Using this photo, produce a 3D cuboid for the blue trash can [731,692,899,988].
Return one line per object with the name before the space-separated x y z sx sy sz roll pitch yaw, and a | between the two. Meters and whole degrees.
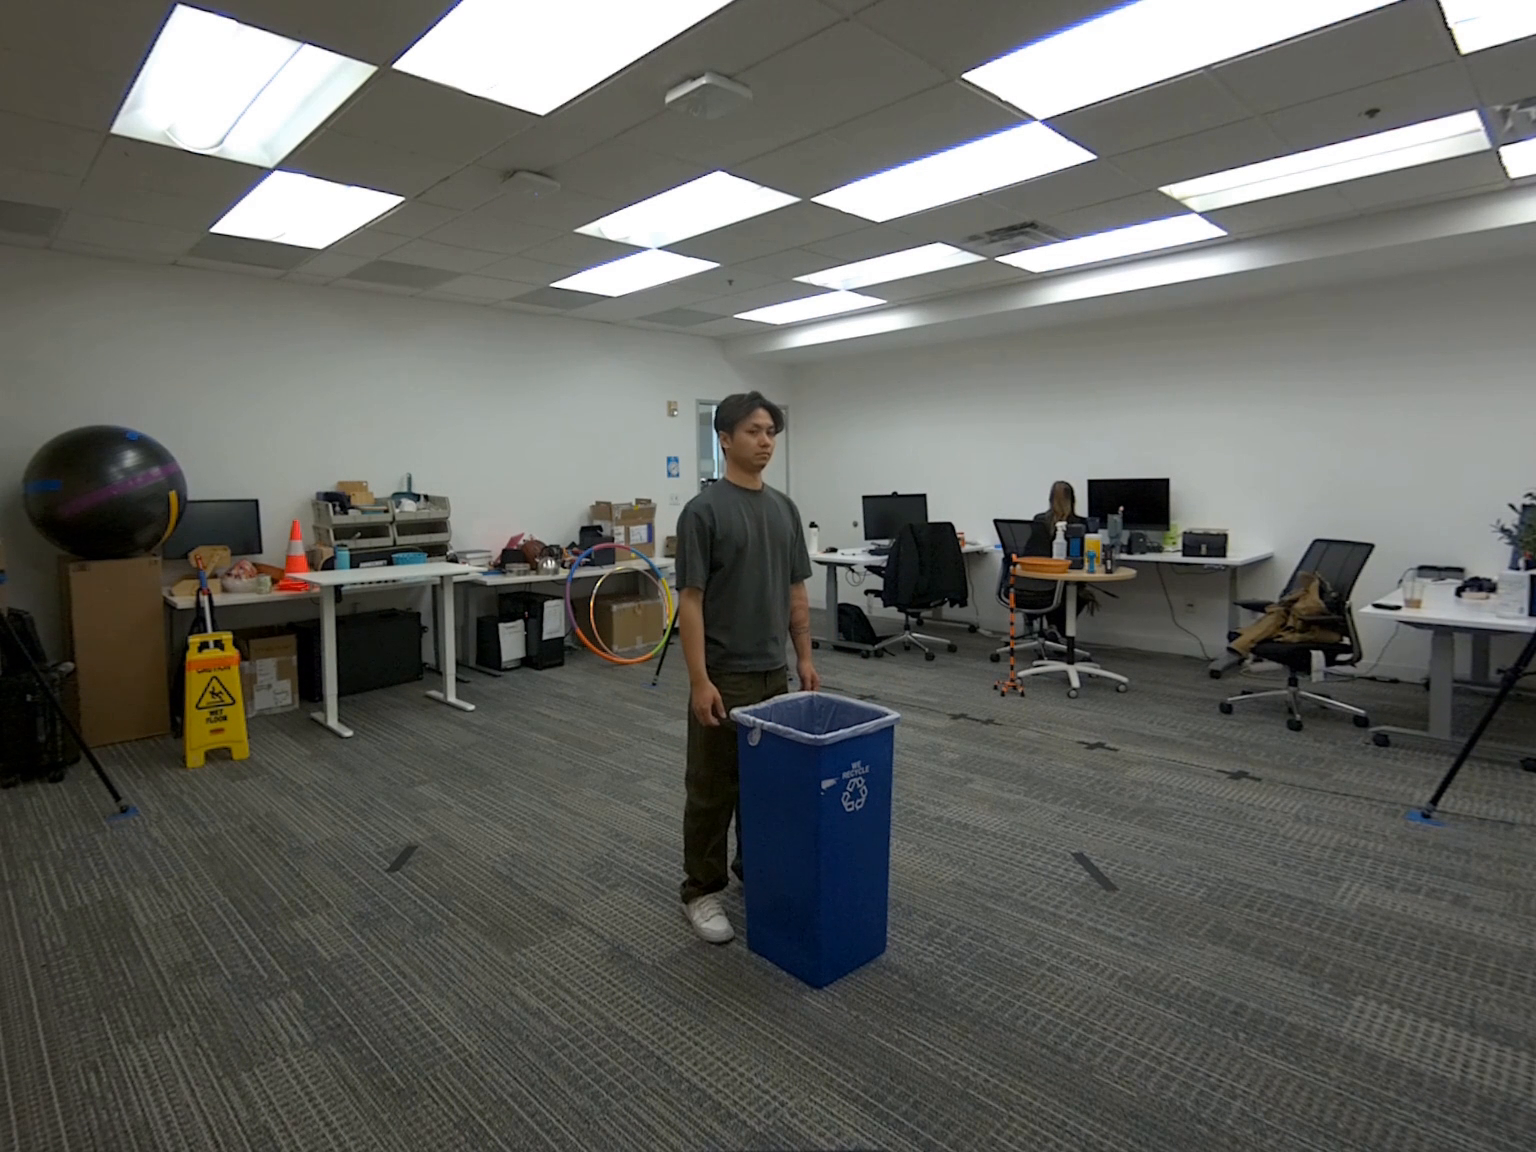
blue trash can | 0.147 0.753 2.517 0.364 0.710 0.390 -5 6 -42
